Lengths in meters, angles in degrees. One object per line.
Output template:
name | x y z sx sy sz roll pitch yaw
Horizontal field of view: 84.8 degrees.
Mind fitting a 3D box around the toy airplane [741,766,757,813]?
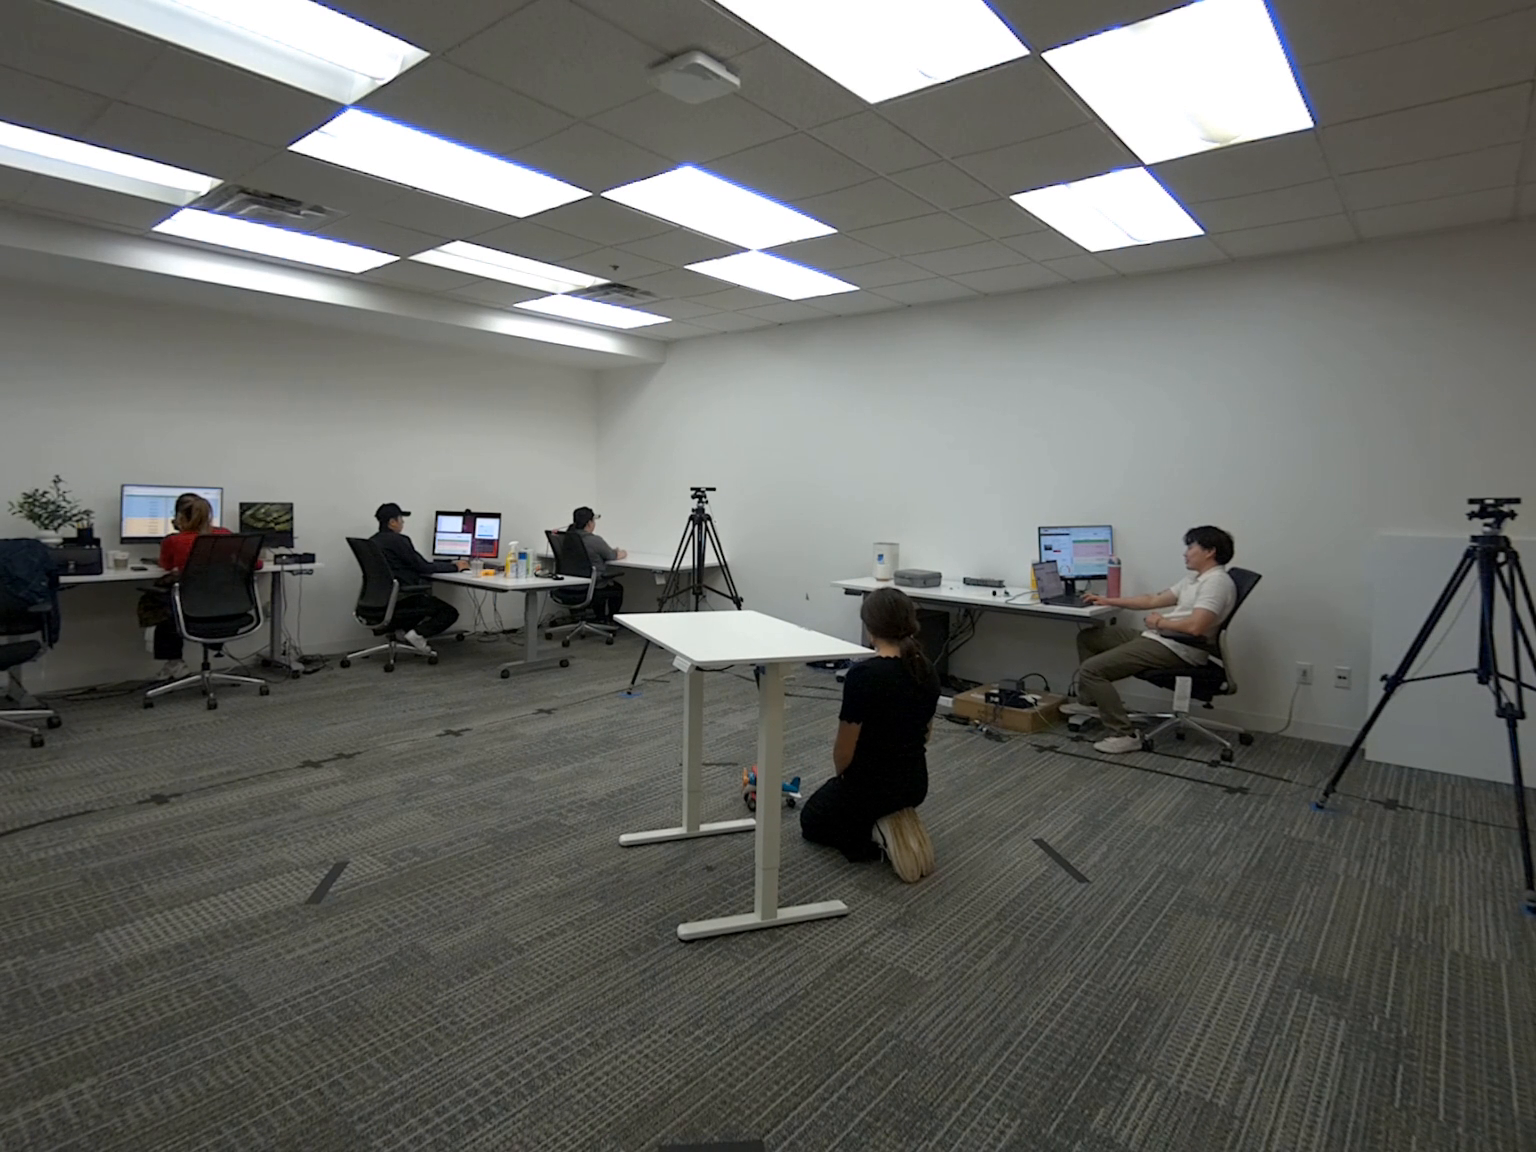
toy airplane | -0.004 0.932 3.758 0.252 0.156 0.259 -4 7 -38
